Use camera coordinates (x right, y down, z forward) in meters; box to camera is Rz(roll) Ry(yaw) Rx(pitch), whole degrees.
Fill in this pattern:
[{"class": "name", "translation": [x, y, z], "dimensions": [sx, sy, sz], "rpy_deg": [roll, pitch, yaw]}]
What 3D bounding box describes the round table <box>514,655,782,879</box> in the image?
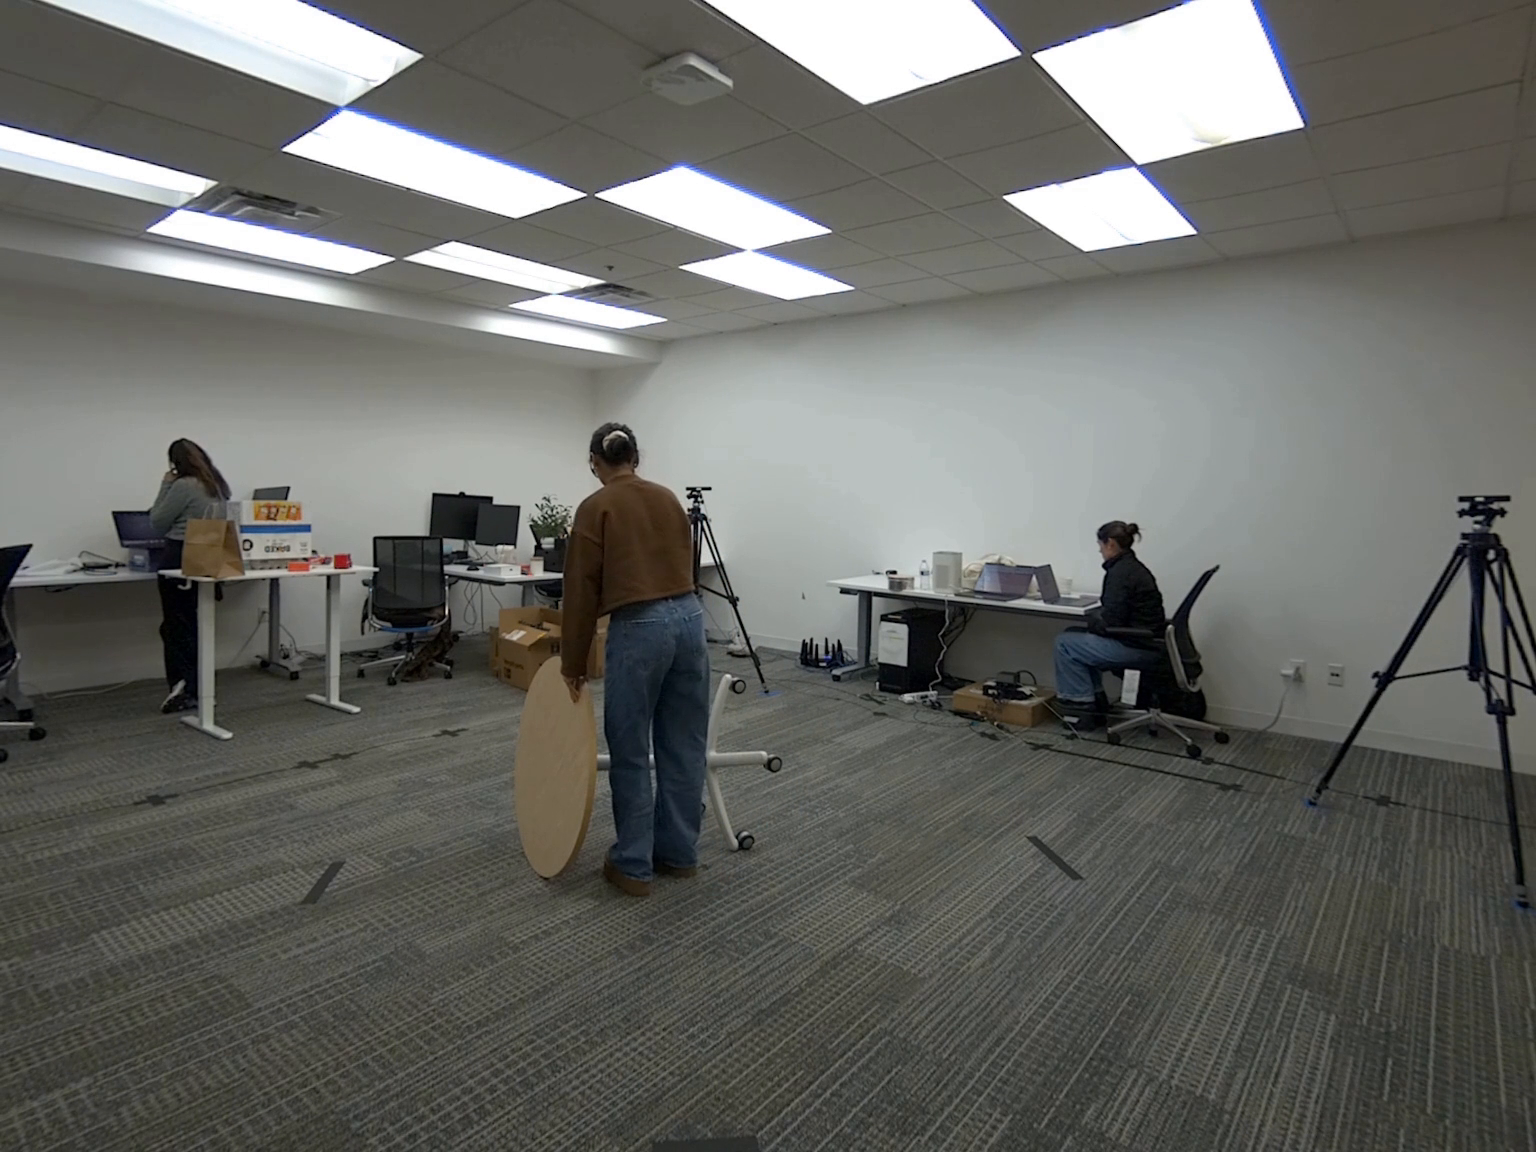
[{"class": "round table", "translation": [-0.482, 0.713, 3.279], "dimensions": [0.770, 0.764, 0.788], "rpy_deg": [7, 0, -32]}]
